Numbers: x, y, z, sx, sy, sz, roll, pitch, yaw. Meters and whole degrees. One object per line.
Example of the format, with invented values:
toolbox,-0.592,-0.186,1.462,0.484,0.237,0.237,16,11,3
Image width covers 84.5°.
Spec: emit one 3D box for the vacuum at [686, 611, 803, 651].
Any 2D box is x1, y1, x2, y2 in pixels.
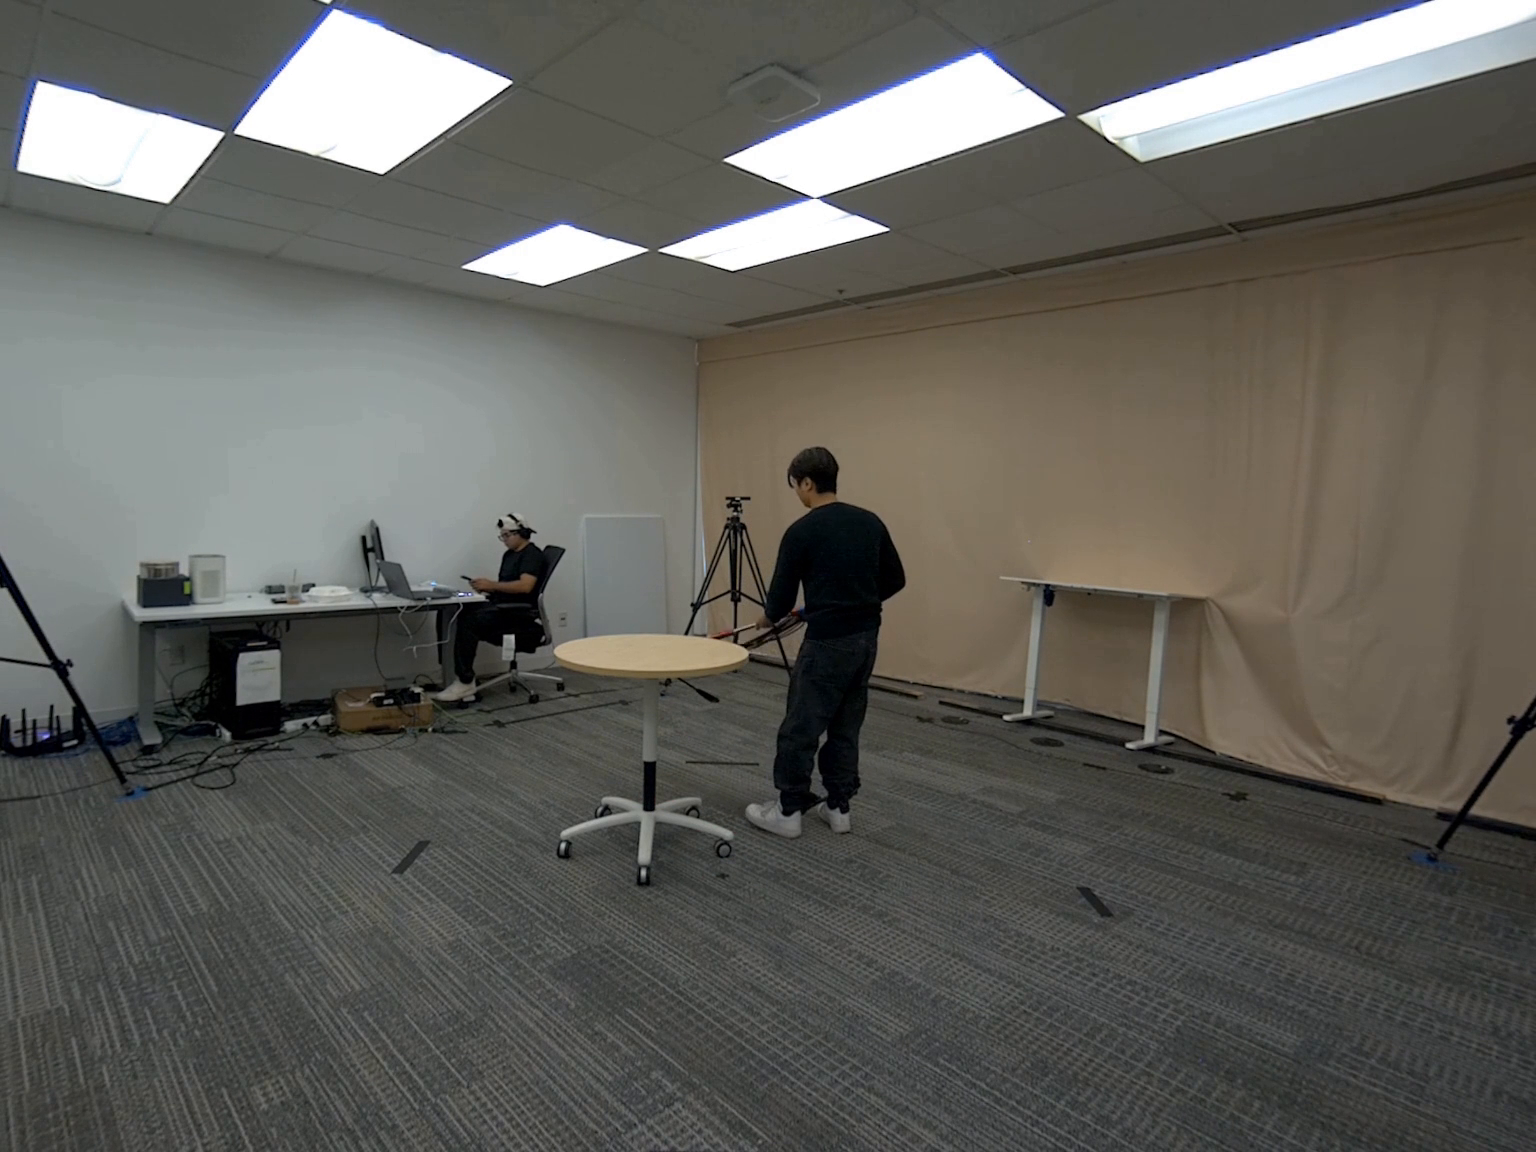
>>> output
vacuum,-0.163,0.307,3.935,1.061,0.141,0.255,-21,23,25
